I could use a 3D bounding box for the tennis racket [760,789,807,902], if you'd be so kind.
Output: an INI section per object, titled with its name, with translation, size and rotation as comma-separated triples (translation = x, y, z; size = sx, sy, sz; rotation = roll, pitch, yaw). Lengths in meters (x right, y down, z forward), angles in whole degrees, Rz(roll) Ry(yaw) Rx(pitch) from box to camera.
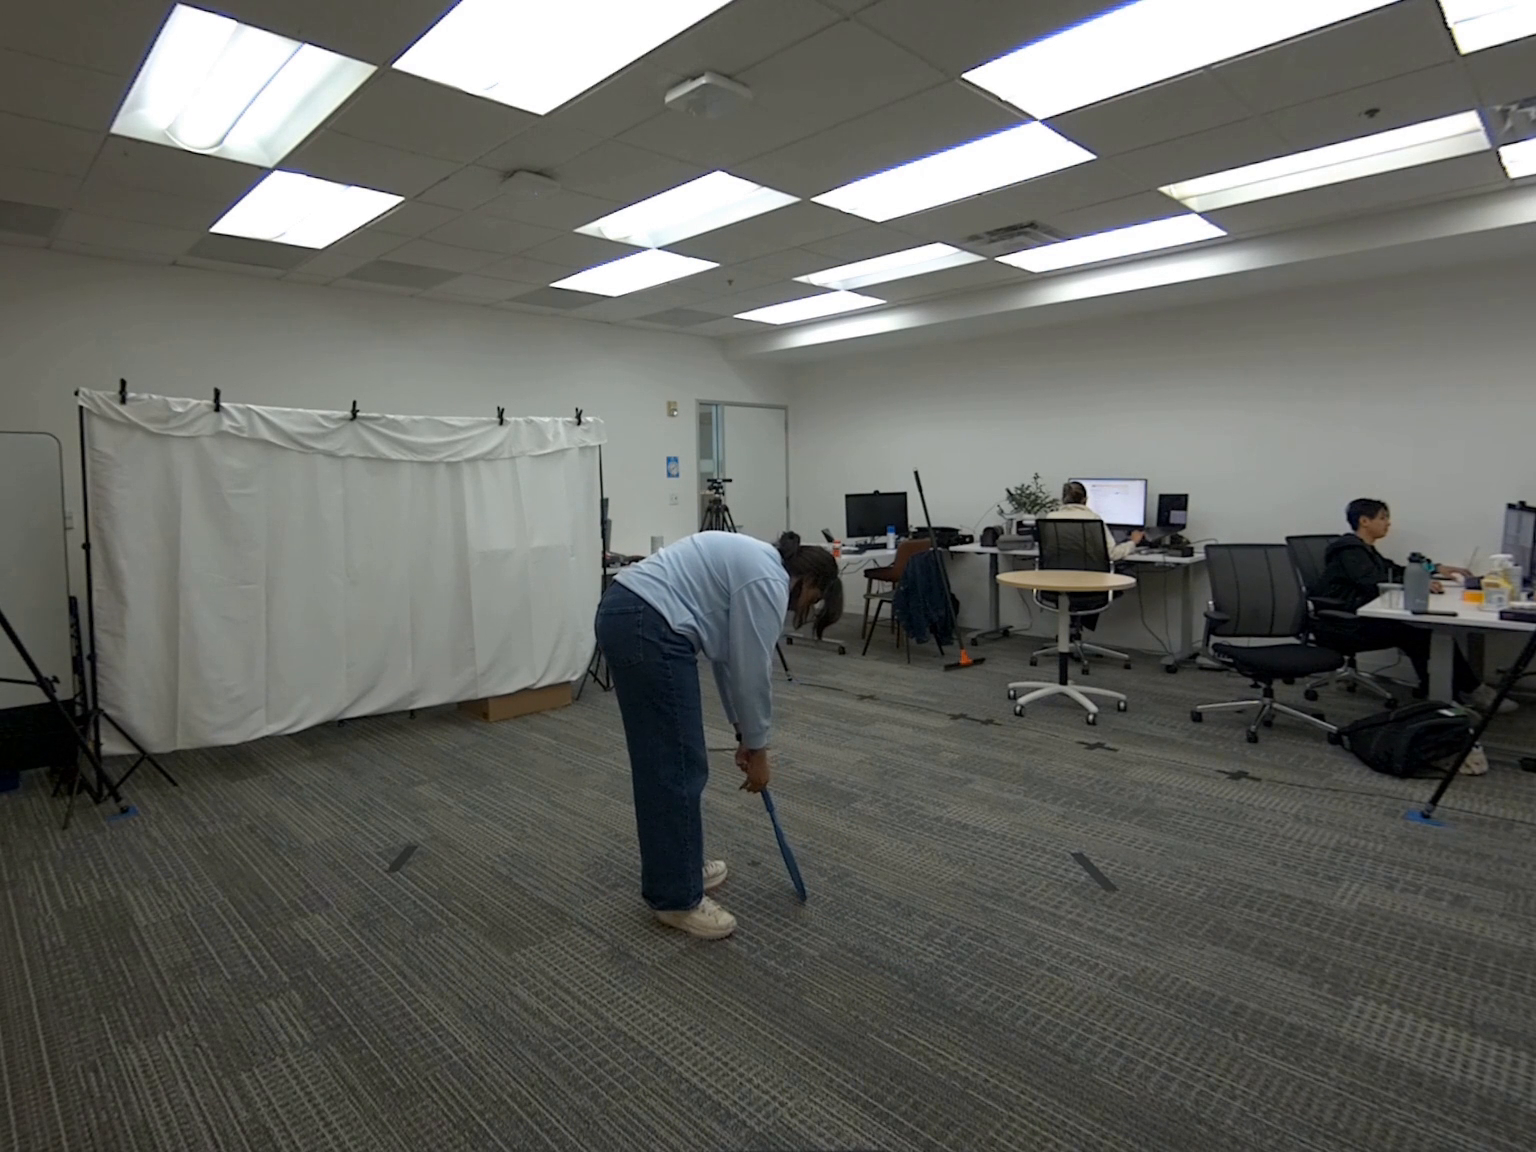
[tennis racket]
translation = 0.029, 0.877, 2.846
size = 0.031, 0.437, 0.213
rotation = -18, -7, -9
